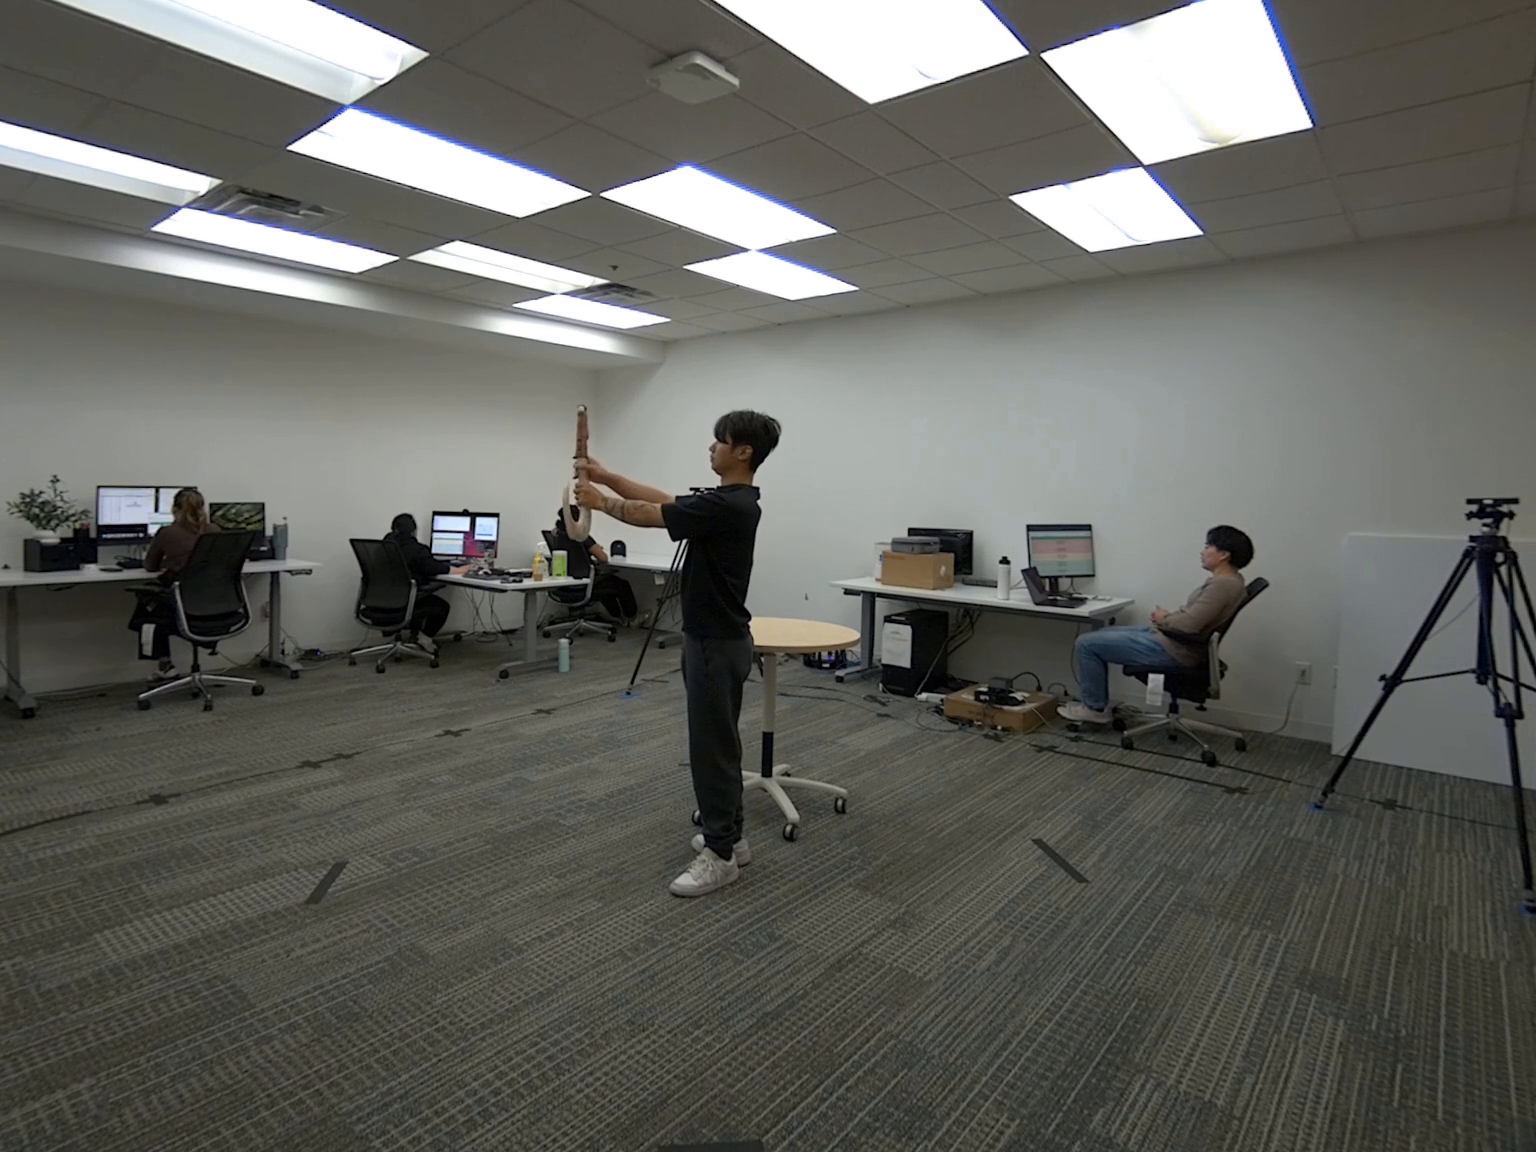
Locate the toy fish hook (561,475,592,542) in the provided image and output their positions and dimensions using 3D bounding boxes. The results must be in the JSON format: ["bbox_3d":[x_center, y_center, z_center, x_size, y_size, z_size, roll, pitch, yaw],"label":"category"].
[{"bbox_3d":[-0.695,-0.375,3.024,0.049,0.510,0.221,-3,-6,8],"label":"toy fish hook"}]
